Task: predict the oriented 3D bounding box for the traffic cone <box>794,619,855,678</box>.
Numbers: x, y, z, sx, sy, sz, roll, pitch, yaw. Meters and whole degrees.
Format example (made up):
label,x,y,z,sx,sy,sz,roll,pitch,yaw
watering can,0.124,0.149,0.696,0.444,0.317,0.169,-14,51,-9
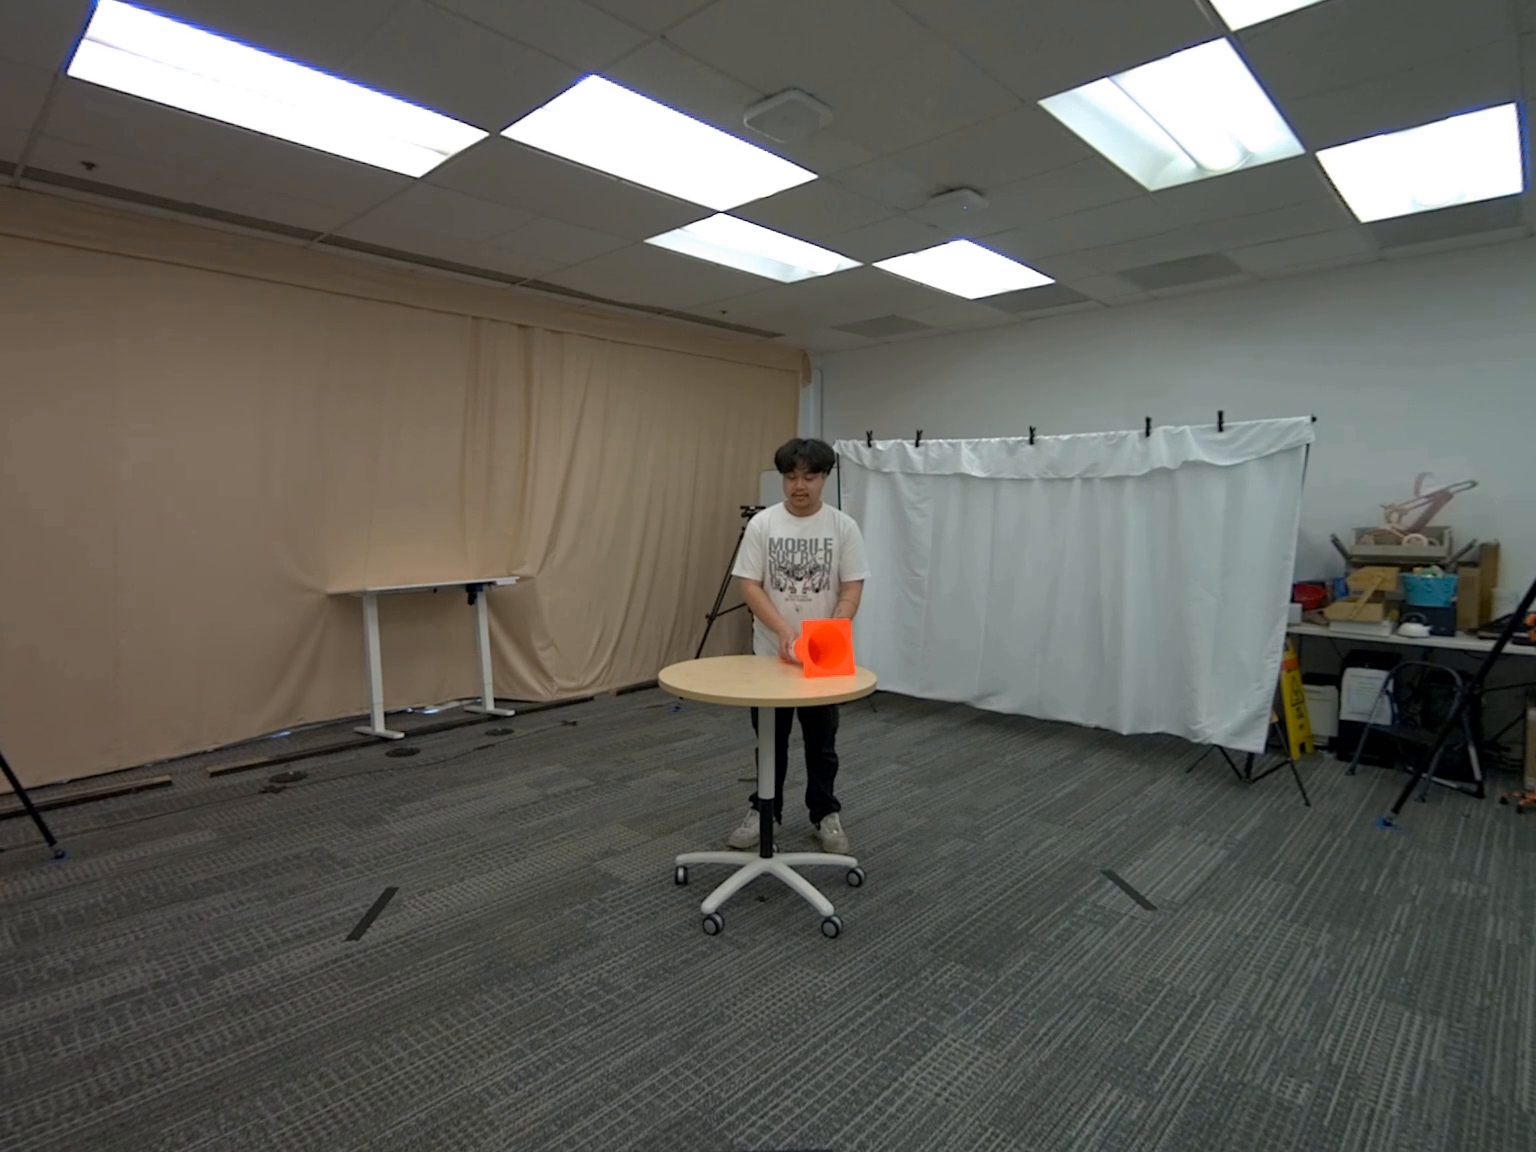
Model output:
label,x,y,z,sx,sy,sz,roll,pitch,yaw
traffic cone,0.124,0.283,3.132,0.201,0.204,0.389,-5,-7,-22
